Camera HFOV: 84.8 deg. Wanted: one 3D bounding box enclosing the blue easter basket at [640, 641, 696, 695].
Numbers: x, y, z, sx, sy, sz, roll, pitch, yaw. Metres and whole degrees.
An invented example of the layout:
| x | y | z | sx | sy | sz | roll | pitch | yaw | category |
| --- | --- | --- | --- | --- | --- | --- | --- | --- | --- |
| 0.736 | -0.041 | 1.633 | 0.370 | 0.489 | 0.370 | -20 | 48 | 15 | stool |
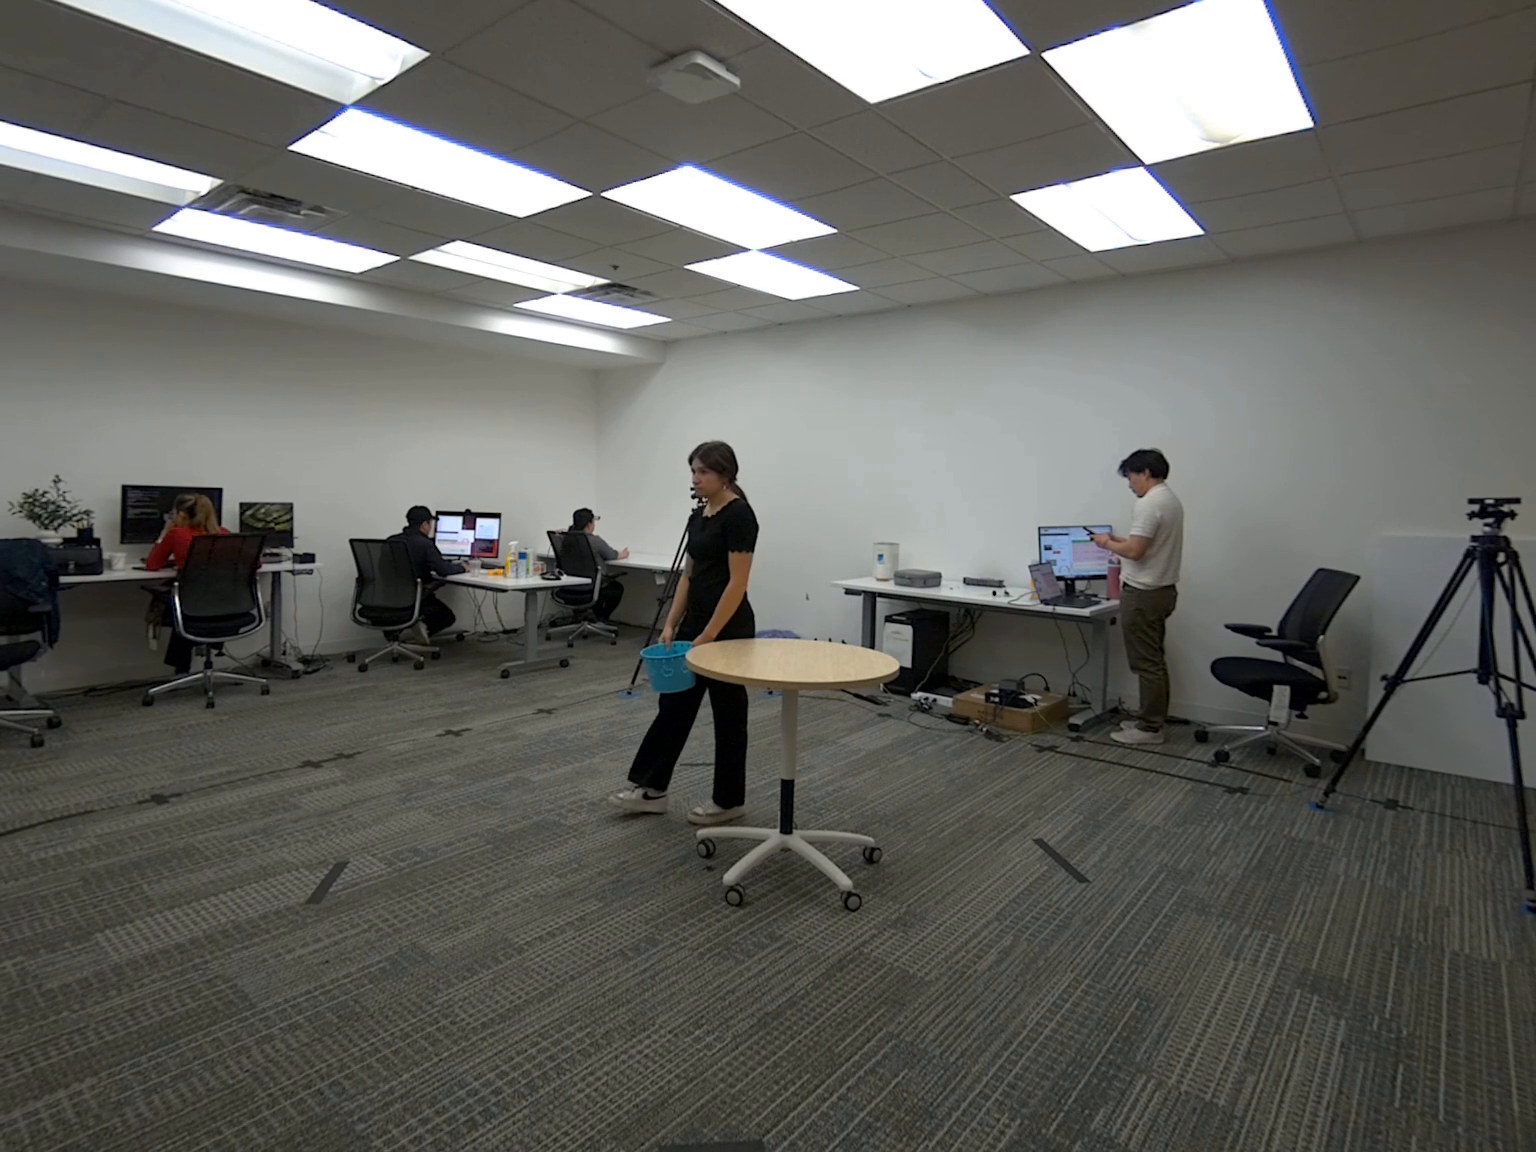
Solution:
| x | y | z | sx | sy | sz | roll | pitch | yaw | category |
| --- | --- | --- | --- | --- | --- | --- | --- | --- | --- |
| -0.408 | 0.364 | 3.446 | 0.243 | 0.154 | 0.246 | -7 | 10 | -1 | blue easter basket |
